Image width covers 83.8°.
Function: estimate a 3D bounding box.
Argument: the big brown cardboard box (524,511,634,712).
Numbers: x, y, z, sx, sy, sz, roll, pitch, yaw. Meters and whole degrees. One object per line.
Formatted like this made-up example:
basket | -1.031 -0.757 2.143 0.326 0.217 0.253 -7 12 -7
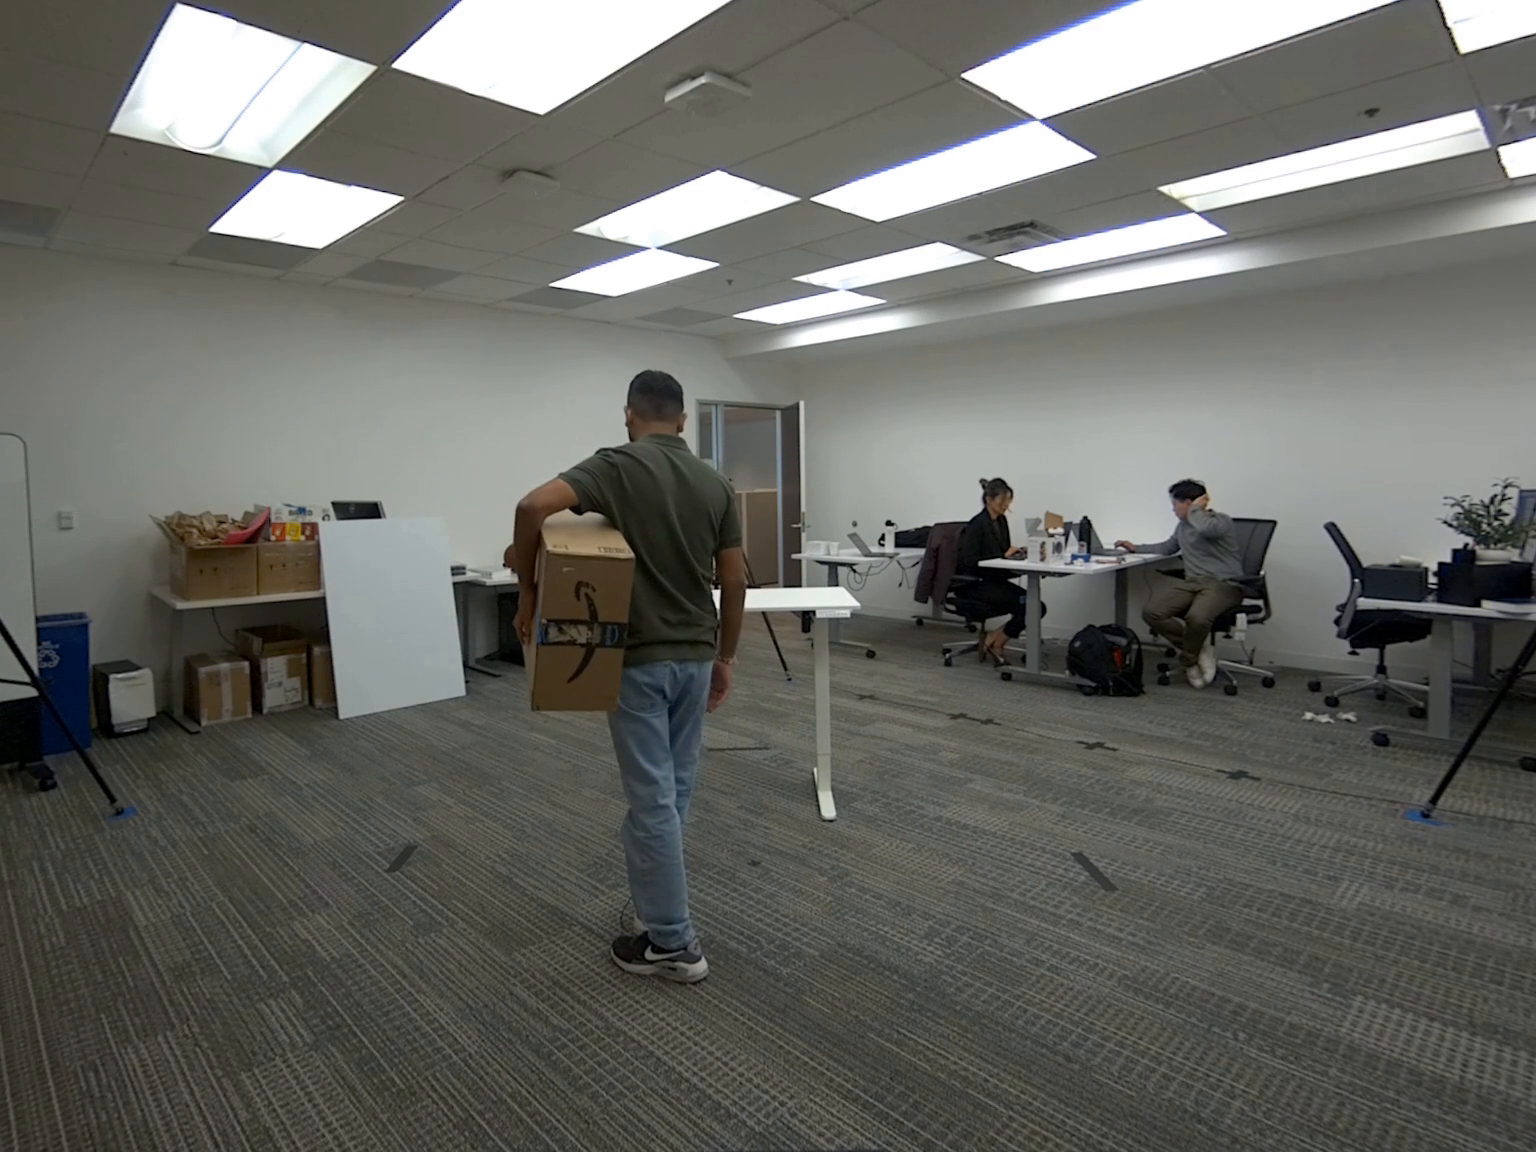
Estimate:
big brown cardboard box | -0.544 0.056 2.344 0.229 0.413 0.605 4 15 -17
